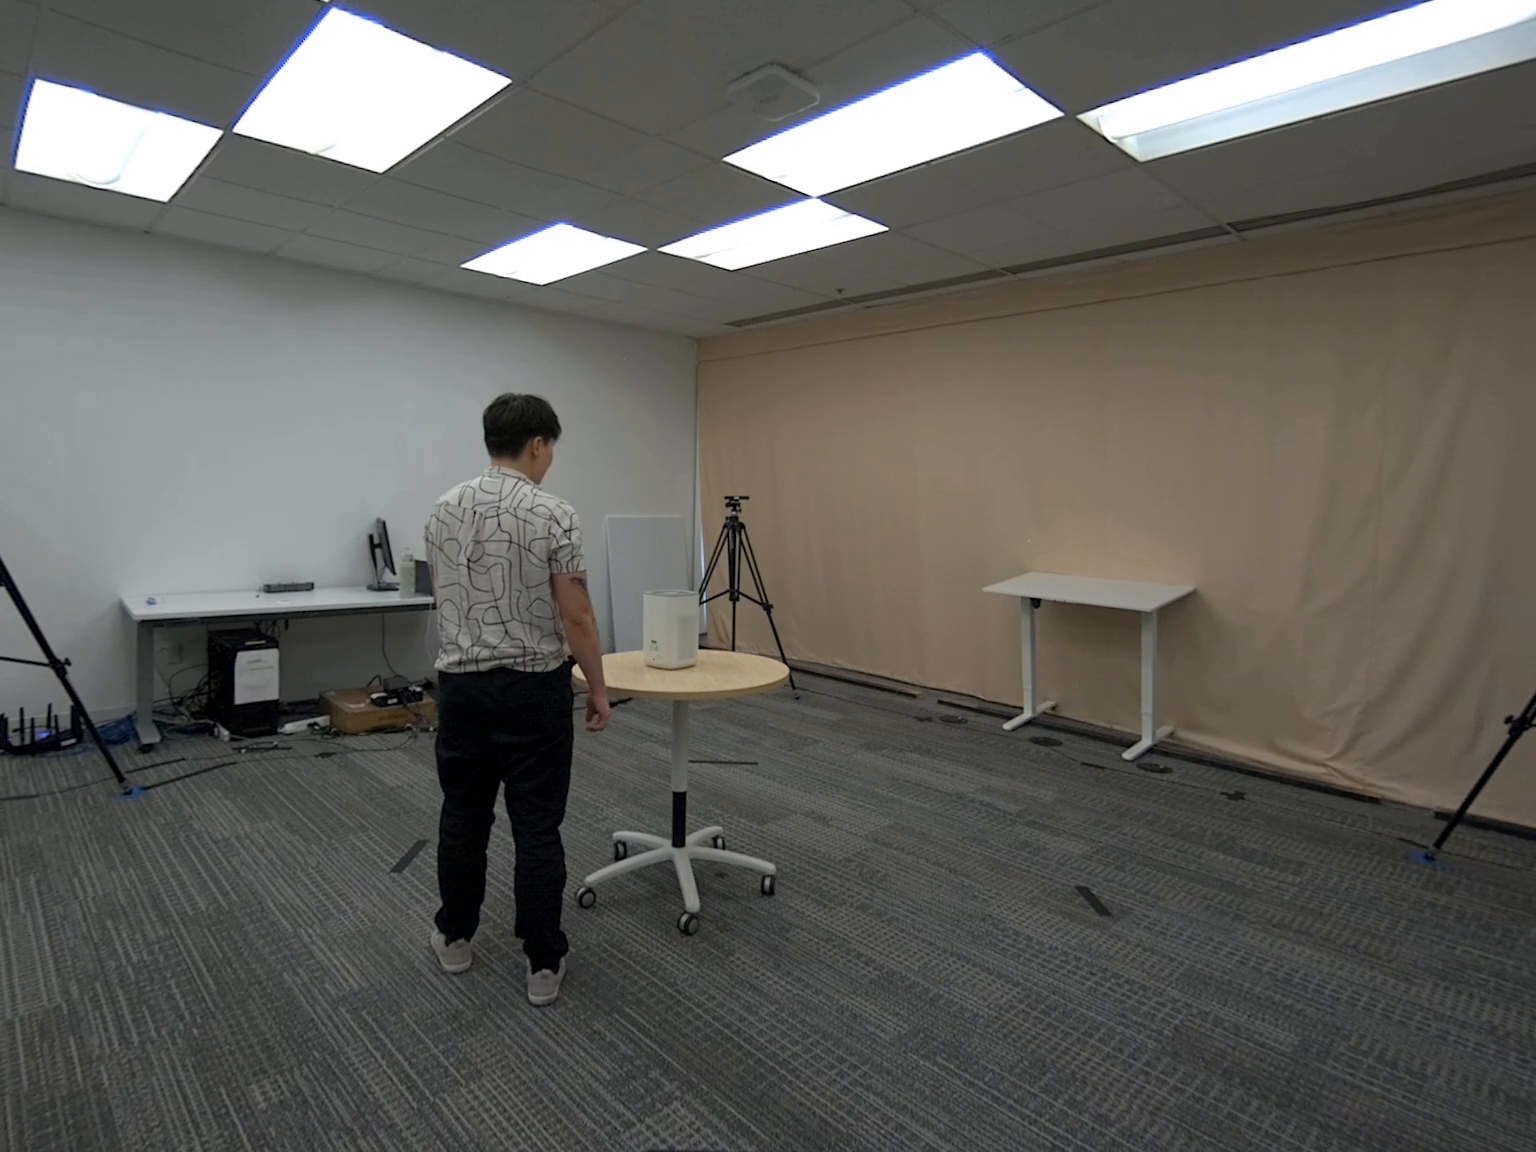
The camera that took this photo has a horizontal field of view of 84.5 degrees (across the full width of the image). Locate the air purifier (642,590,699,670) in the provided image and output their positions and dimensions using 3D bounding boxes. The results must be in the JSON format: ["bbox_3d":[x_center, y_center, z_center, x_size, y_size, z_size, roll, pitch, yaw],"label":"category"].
[{"bbox_3d":[-0.352,0.190,3.020,0.175,0.264,0.168,5,5,37],"label":"air purifier"}]
